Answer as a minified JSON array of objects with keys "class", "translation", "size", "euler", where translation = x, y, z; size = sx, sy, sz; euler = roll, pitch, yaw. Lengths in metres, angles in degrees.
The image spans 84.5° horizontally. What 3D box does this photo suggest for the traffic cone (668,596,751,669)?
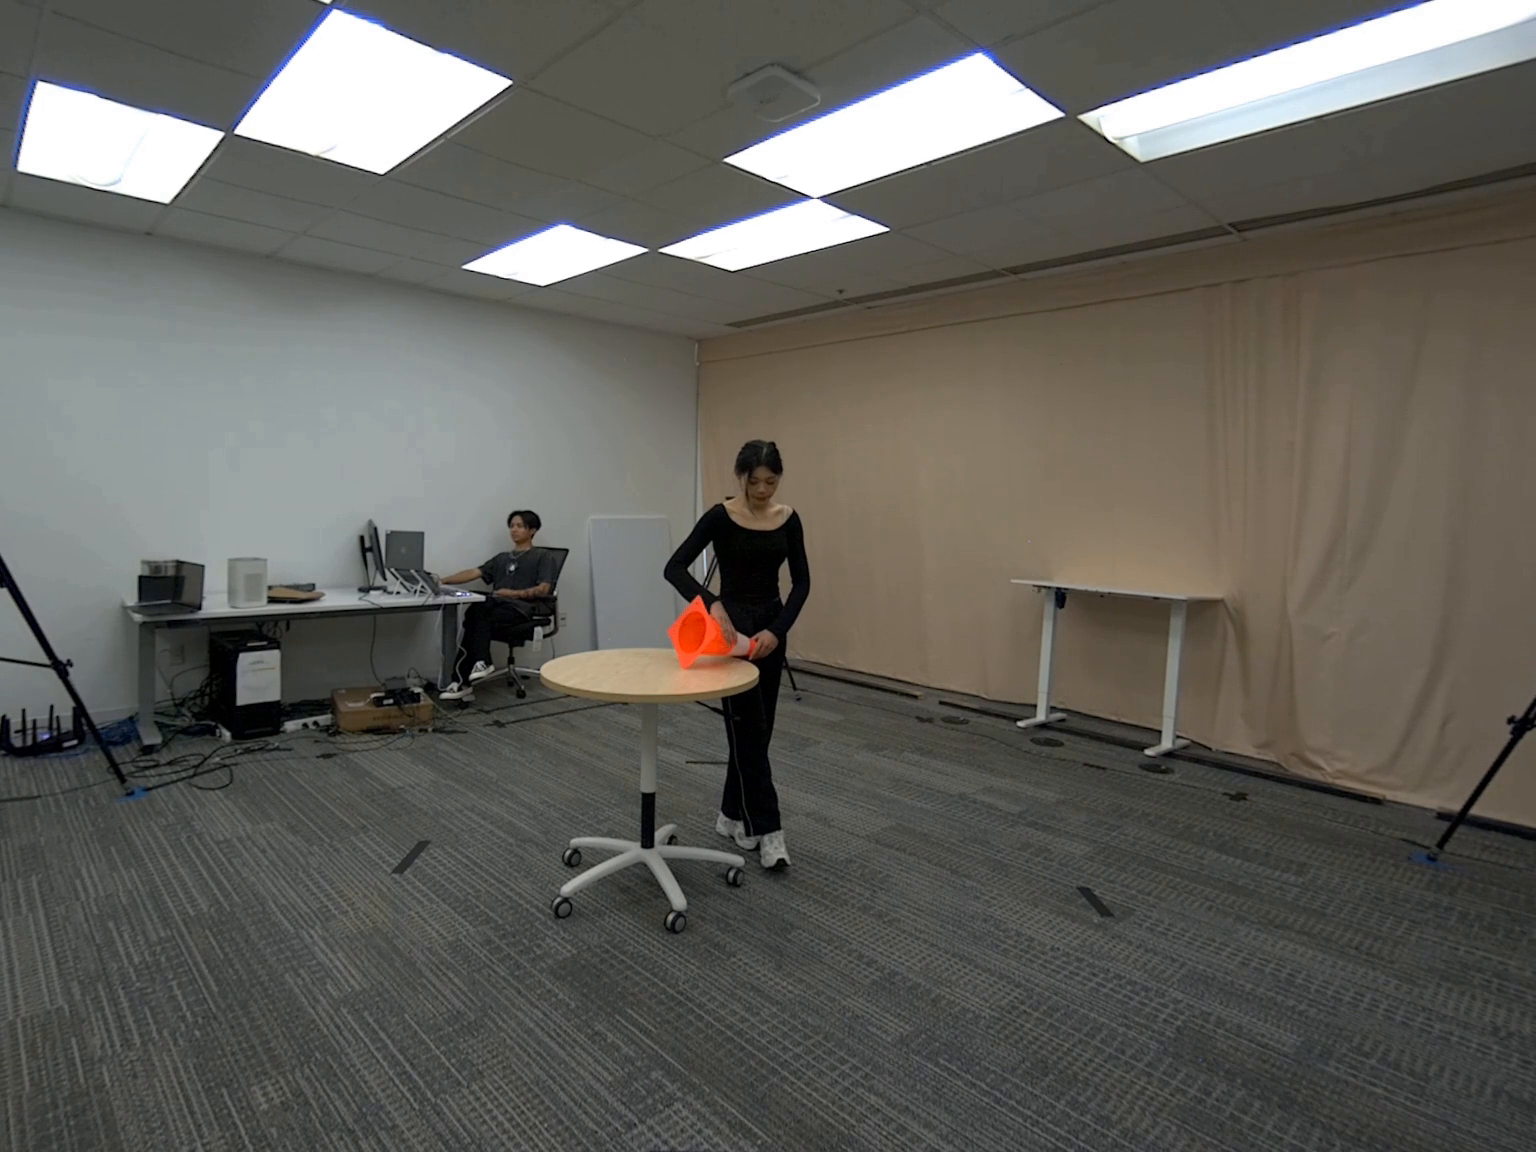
[{"class":"traffic cone","translation":[-0.151,0.250,3.124],"size":[0.372,0.204,0.209],"euler":[19,30,-40]}]
